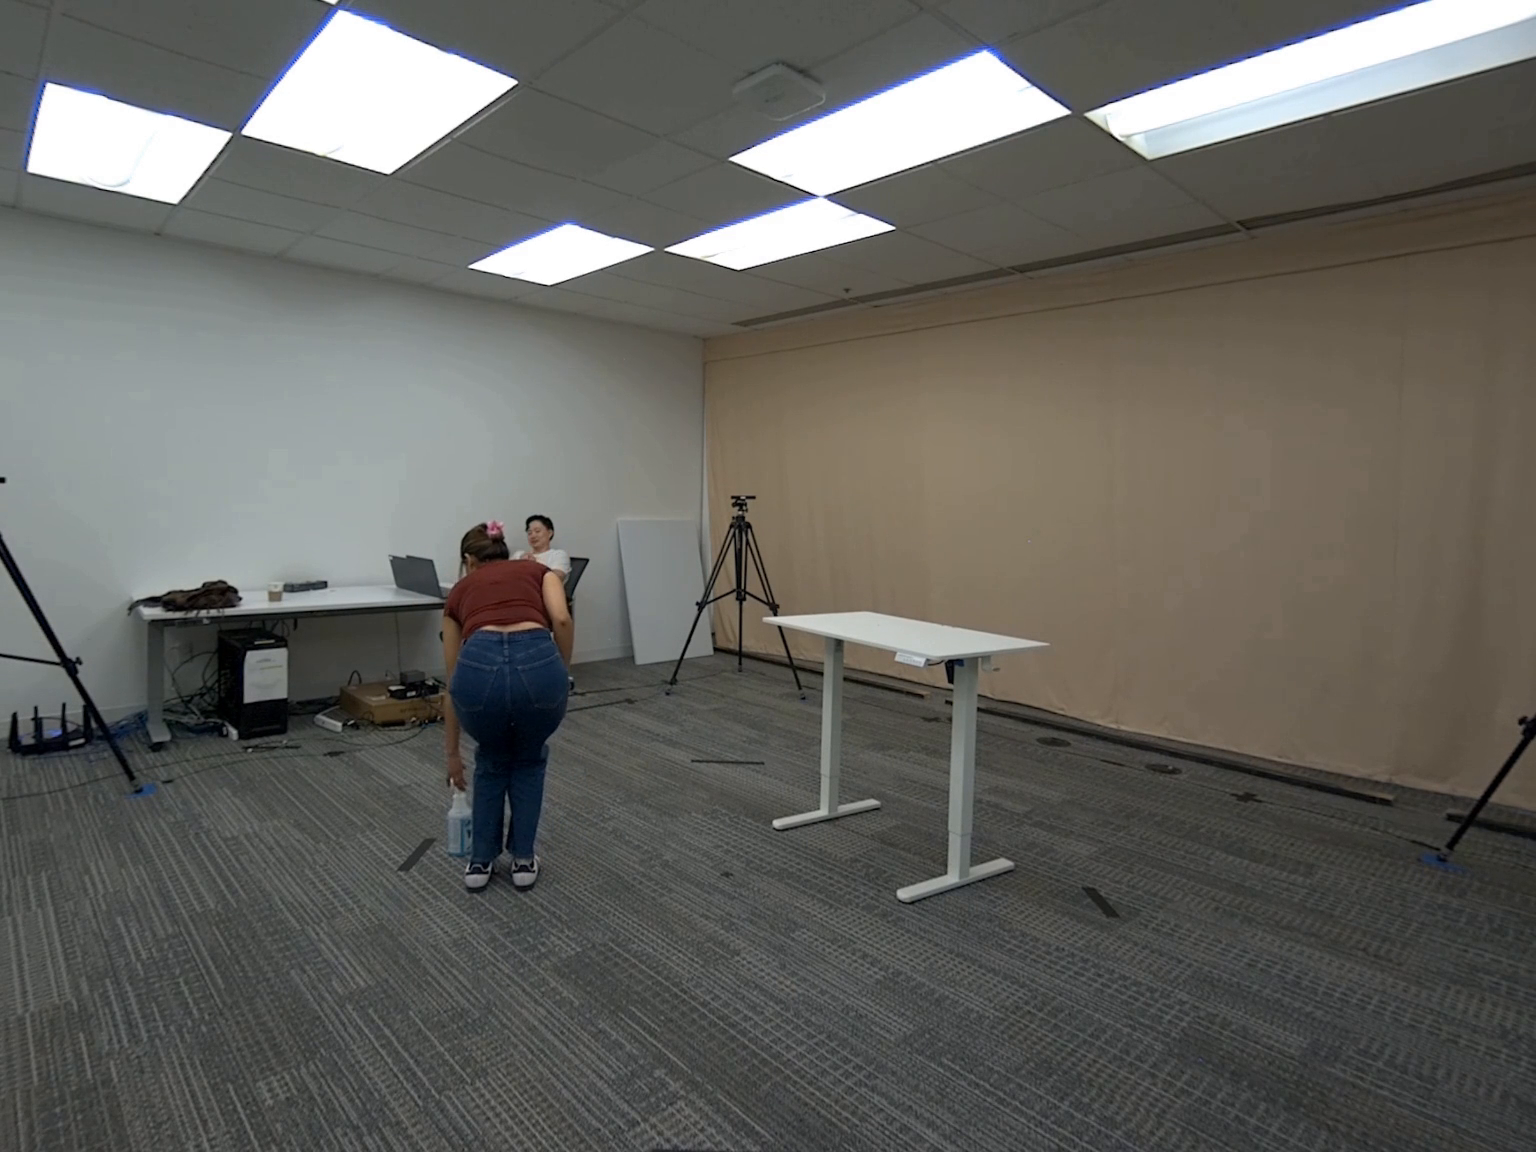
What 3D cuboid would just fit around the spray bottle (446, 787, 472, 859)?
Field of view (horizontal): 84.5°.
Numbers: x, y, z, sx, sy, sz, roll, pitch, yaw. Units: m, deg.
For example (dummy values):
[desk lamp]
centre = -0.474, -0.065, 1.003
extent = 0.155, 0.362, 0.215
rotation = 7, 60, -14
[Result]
[spray bottle]
centre = -1.182, 0.919, 3.238
extent = 0.085, 0.297, 0.092
rotation = -3, 3, -34
